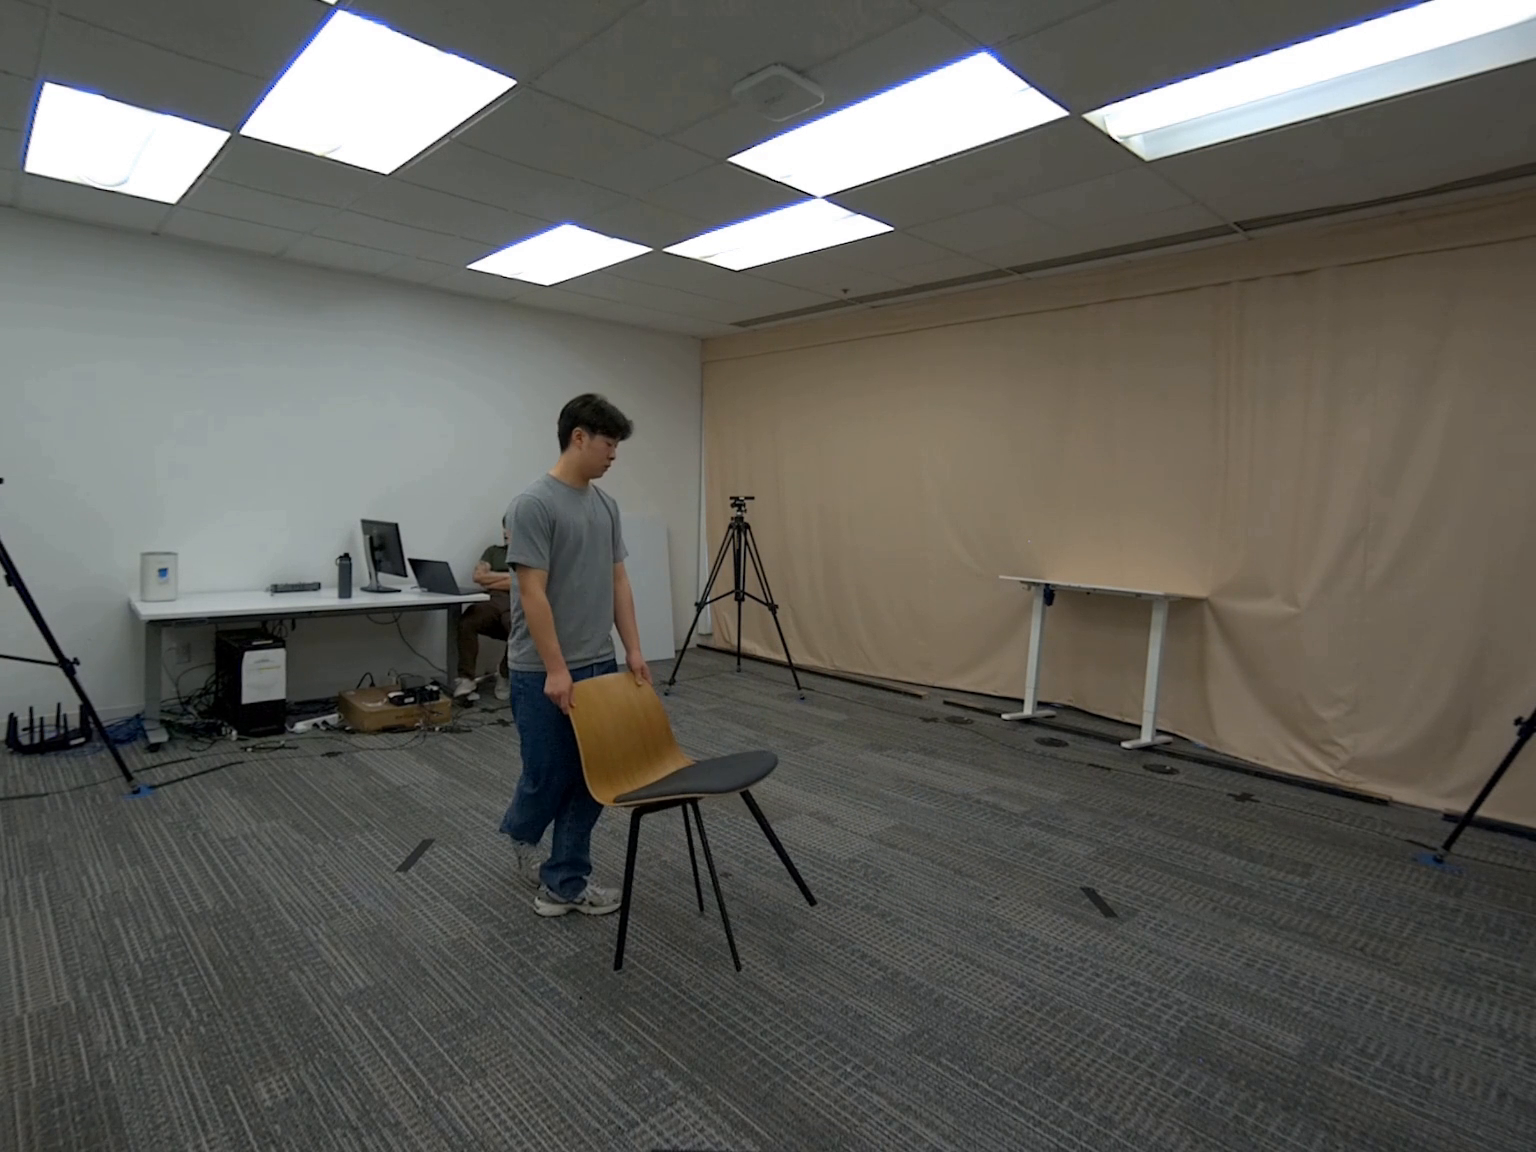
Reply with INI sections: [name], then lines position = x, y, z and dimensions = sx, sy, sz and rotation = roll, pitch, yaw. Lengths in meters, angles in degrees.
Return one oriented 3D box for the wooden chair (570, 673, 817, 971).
[wooden chair]
position = -0.249, 0.674, 2.568
dimensions = 0.529, 0.885, 0.468
rotation = -23, -10, 31
